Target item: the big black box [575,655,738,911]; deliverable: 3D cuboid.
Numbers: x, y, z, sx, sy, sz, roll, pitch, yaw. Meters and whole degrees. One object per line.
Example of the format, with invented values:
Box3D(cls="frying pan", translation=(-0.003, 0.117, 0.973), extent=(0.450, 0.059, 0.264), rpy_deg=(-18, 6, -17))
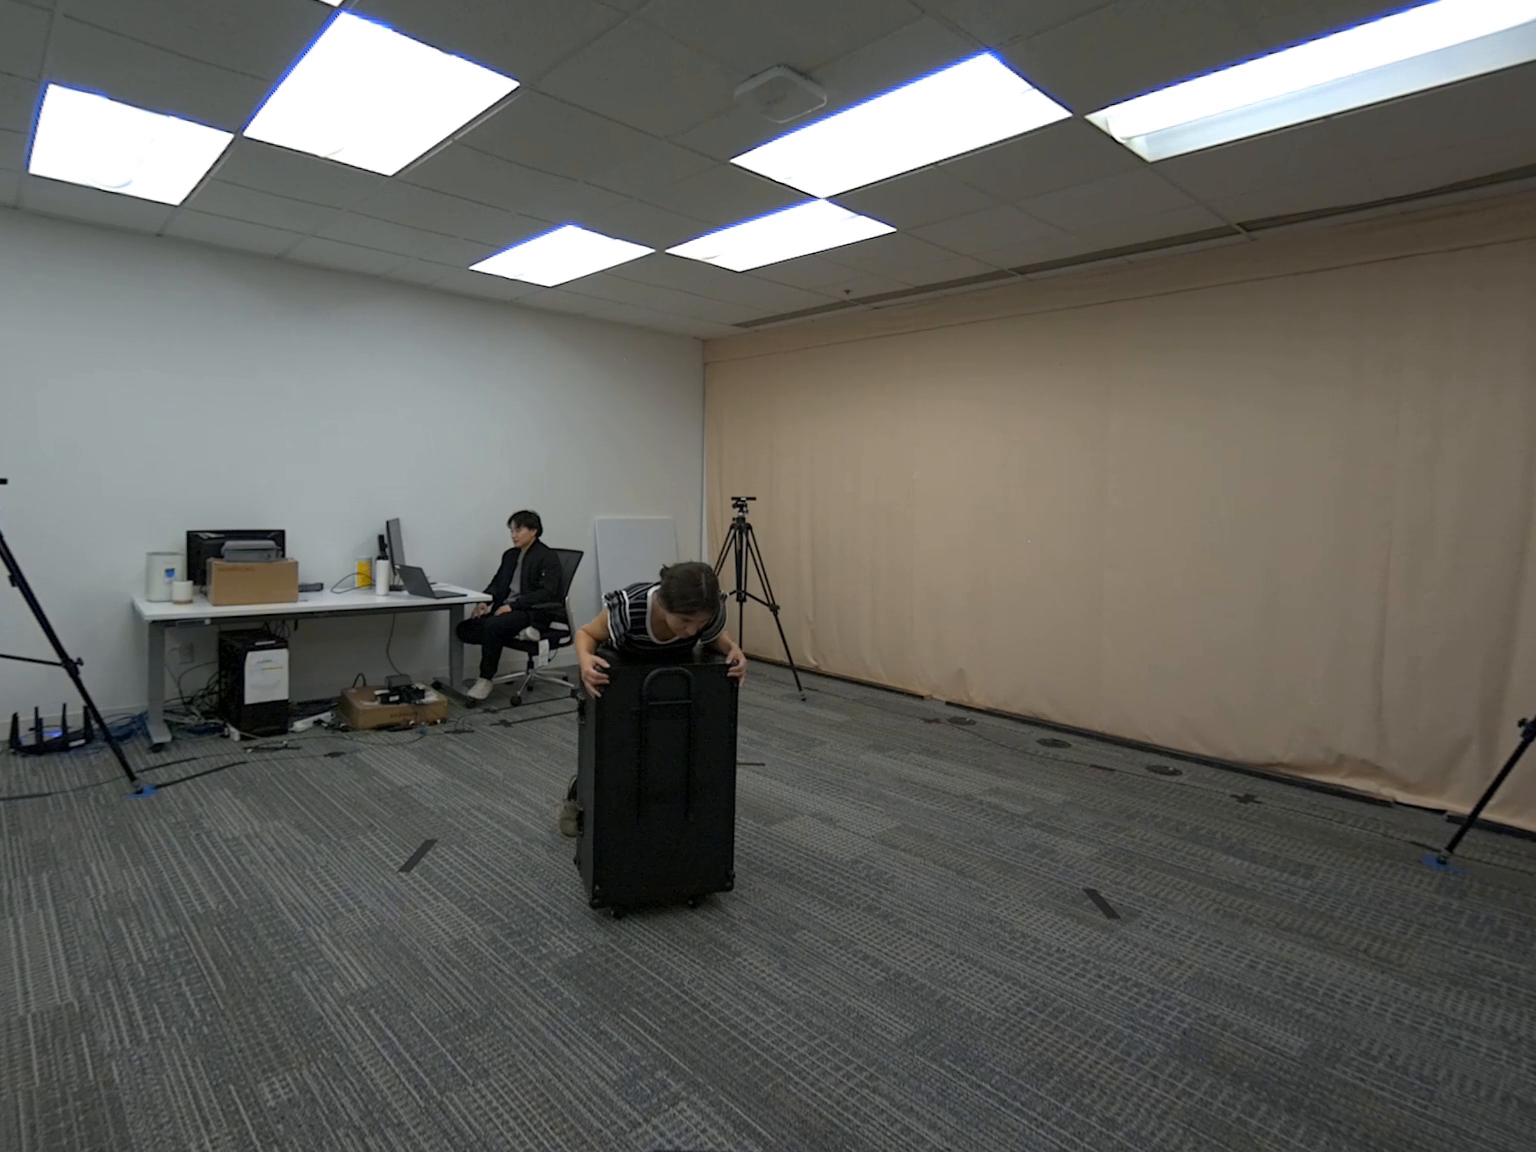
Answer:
Box3D(cls="big black box", translation=(-0.388, 0.706, 2.894), extent=(0.513, 0.858, 0.403), rpy_deg=(0, 5, -20))
